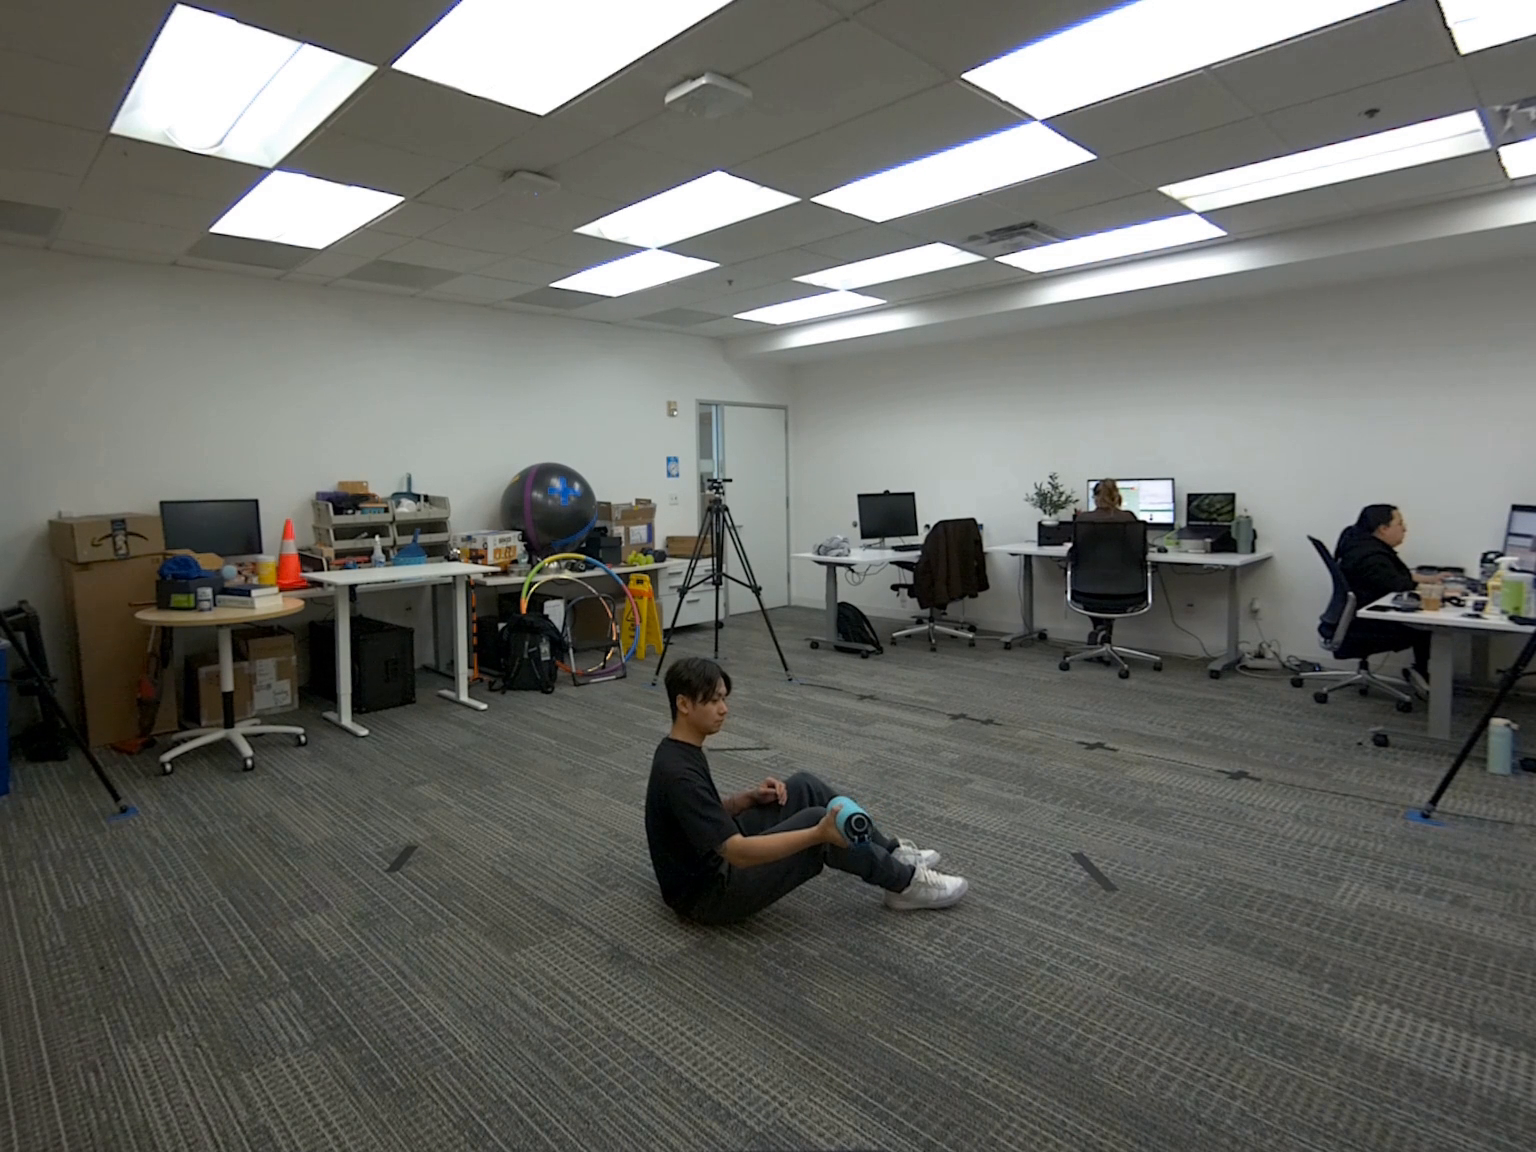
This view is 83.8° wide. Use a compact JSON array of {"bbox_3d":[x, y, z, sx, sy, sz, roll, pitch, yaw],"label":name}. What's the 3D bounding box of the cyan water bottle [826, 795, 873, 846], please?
[{"bbox_3d":[0.241,0.687,2.389,0.092,0.093,0.282,-1,-5,-4],"label":"cyan water bottle"}]
